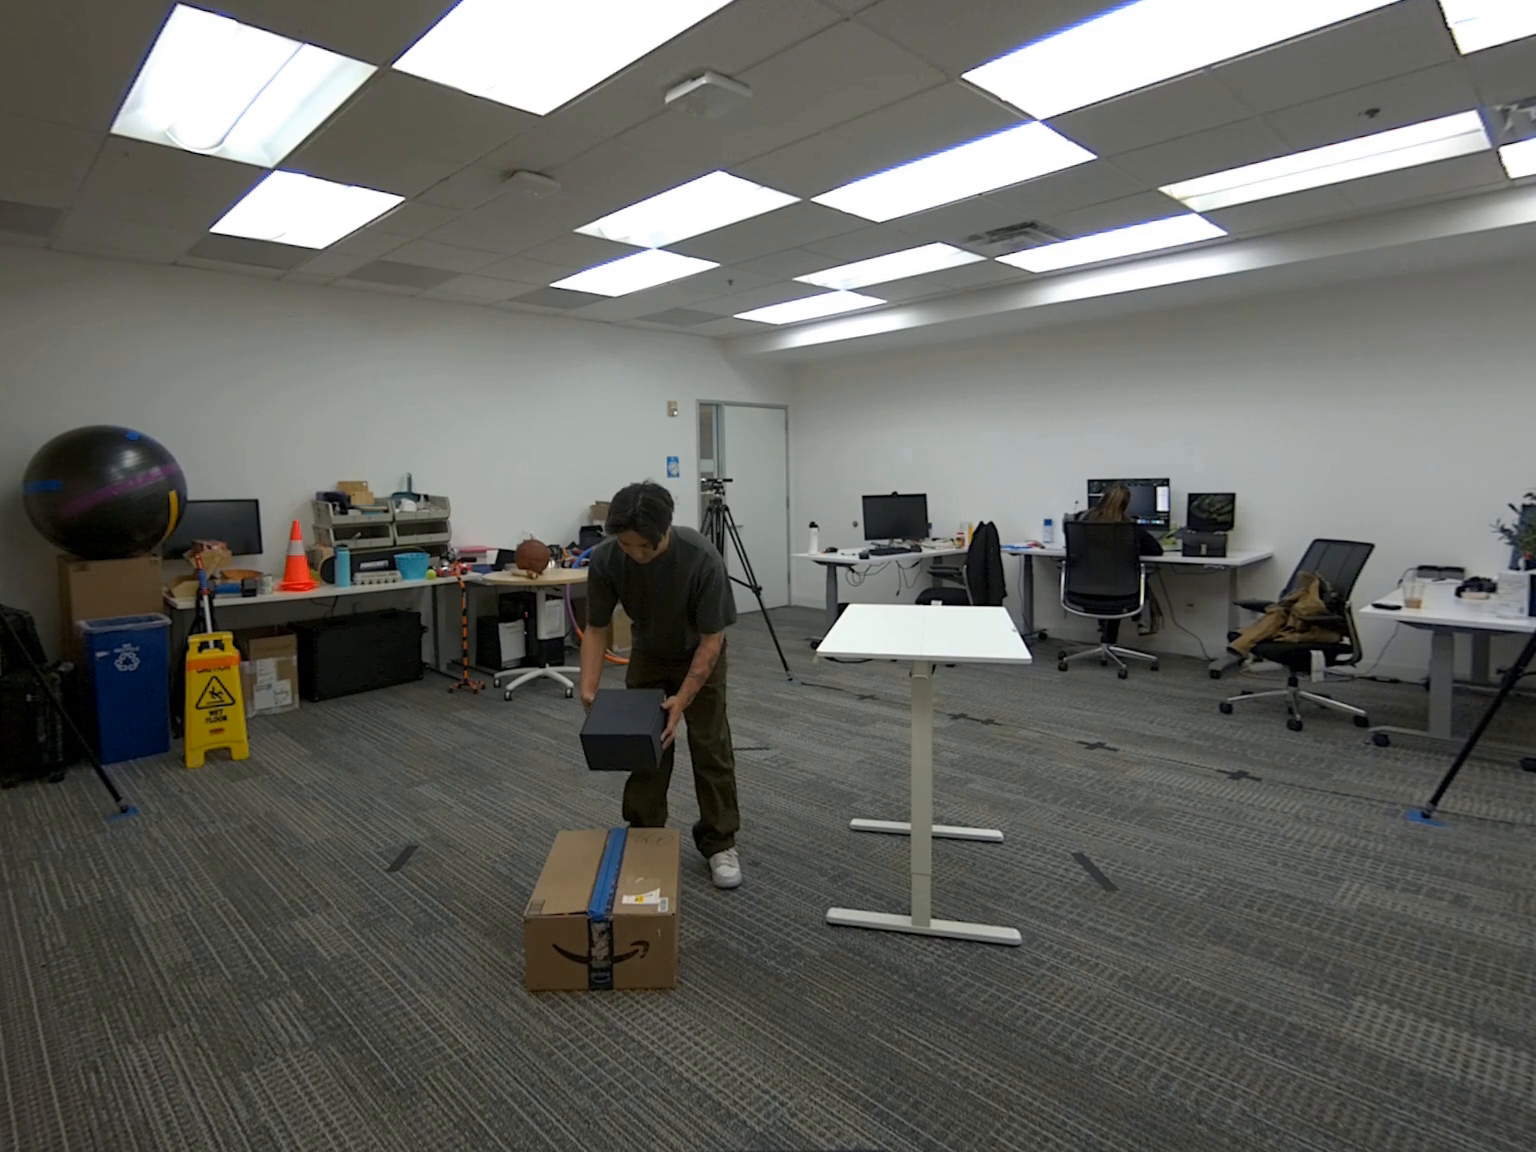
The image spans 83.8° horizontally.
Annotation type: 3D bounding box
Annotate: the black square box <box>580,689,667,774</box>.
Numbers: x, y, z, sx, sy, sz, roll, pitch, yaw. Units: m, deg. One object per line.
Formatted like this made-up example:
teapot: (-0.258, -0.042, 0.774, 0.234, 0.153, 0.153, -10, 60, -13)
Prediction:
black square box: (-0.449, 0.487, 2.721, 0.230, 0.152, 0.221, -3, 31, 9)
